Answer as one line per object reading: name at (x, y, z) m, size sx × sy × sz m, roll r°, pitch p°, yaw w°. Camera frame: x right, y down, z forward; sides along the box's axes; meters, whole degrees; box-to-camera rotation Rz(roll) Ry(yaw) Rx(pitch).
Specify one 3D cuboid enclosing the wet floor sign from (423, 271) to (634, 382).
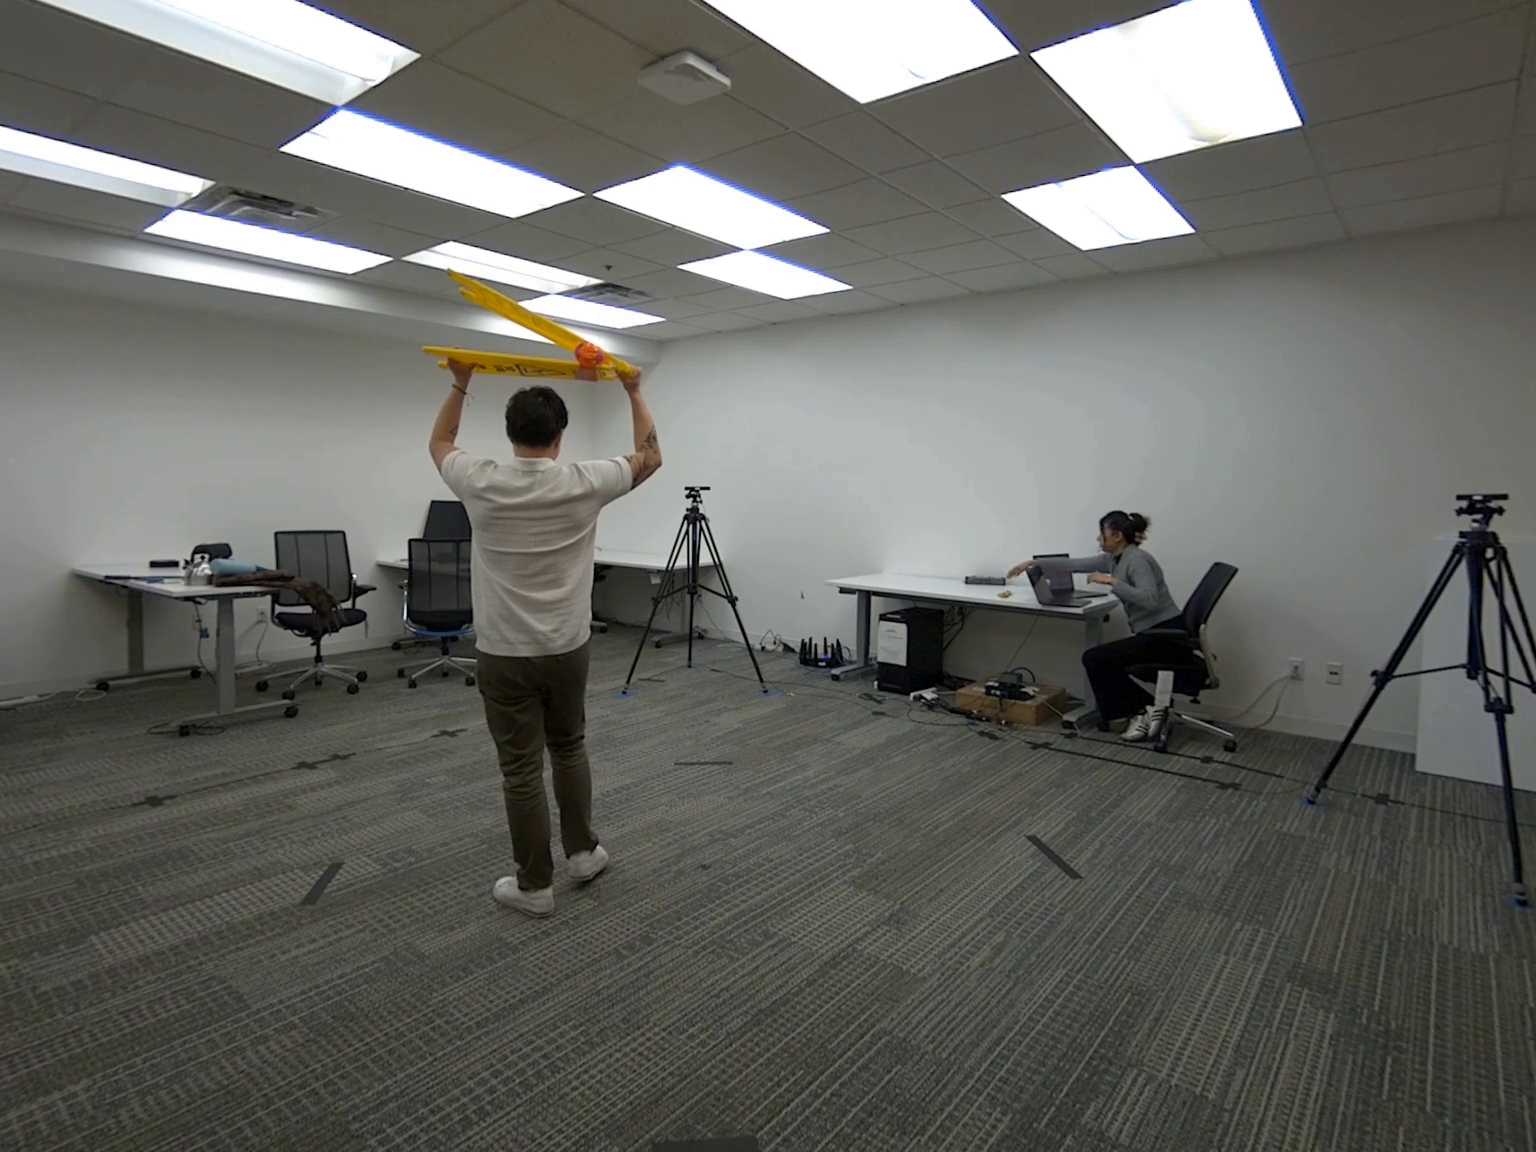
wet floor sign at (-0.783, -0.767, 2.837) m, size 0.643 × 0.290 × 0.283 m, roll 15°, pitch -2°, yaw -4°
